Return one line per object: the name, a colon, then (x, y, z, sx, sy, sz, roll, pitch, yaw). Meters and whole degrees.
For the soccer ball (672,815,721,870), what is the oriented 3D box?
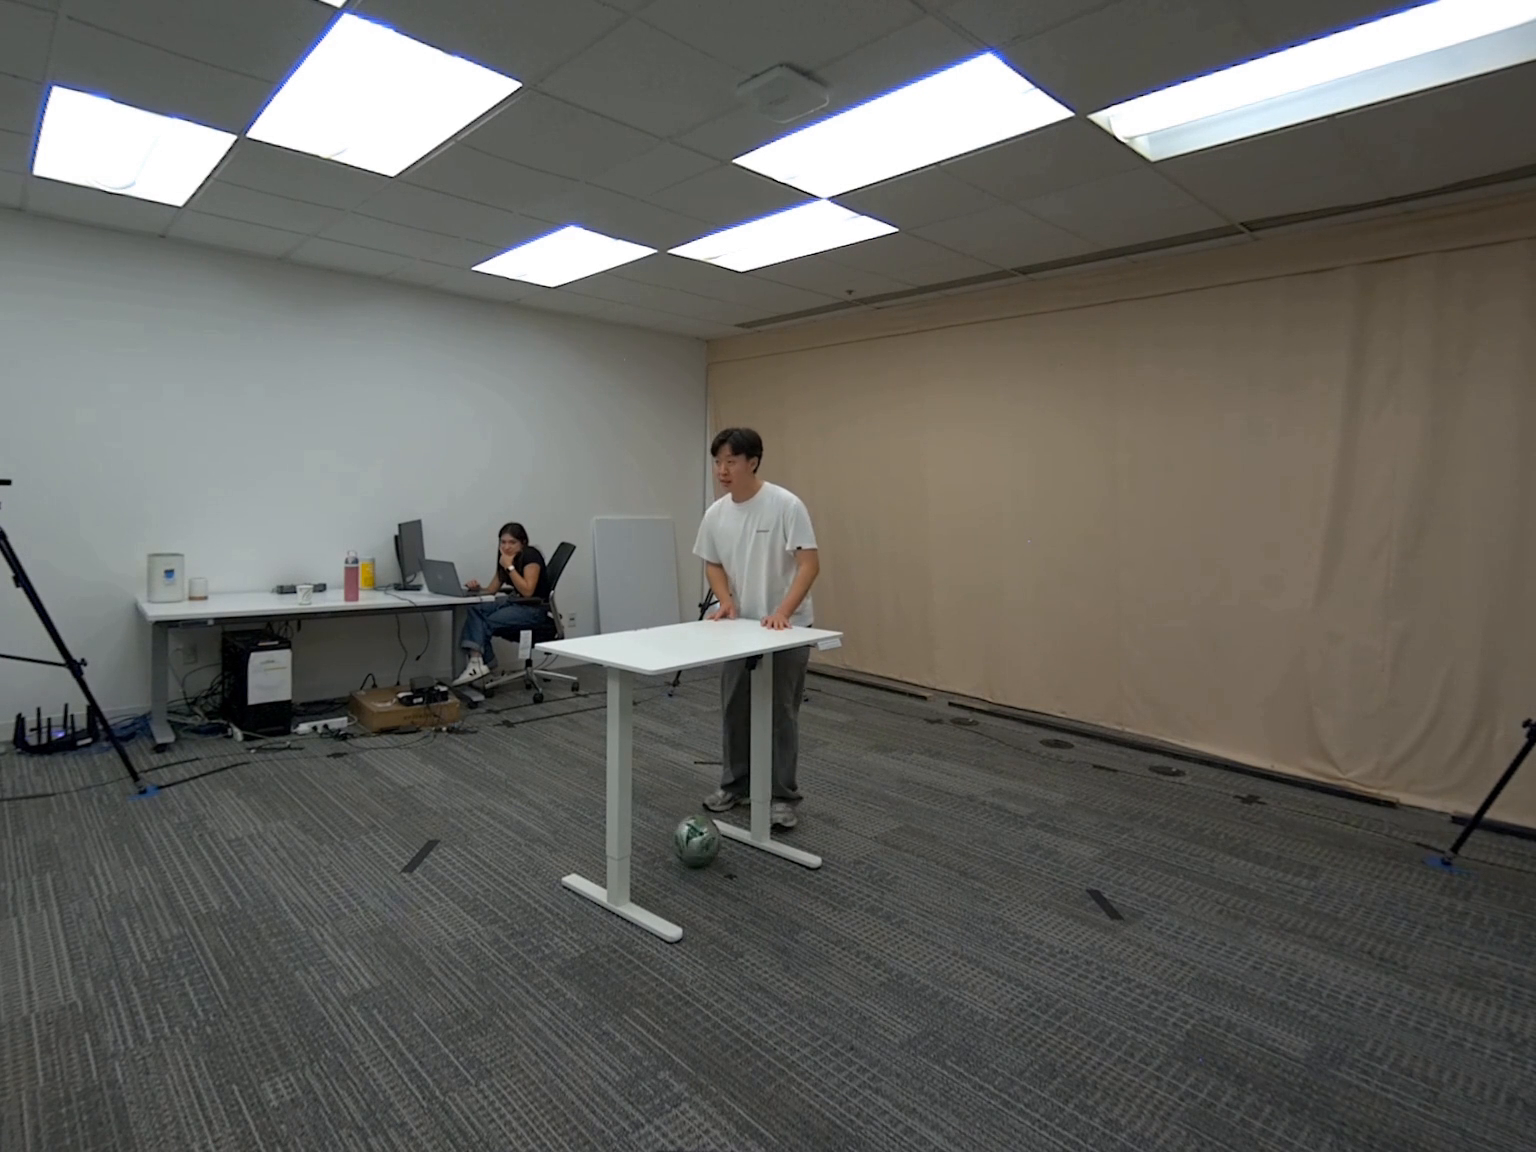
soccer ball: (-0.276, 1.008, 3.182, 0.187, 0.187, 0.188, 1, 4, -1)
